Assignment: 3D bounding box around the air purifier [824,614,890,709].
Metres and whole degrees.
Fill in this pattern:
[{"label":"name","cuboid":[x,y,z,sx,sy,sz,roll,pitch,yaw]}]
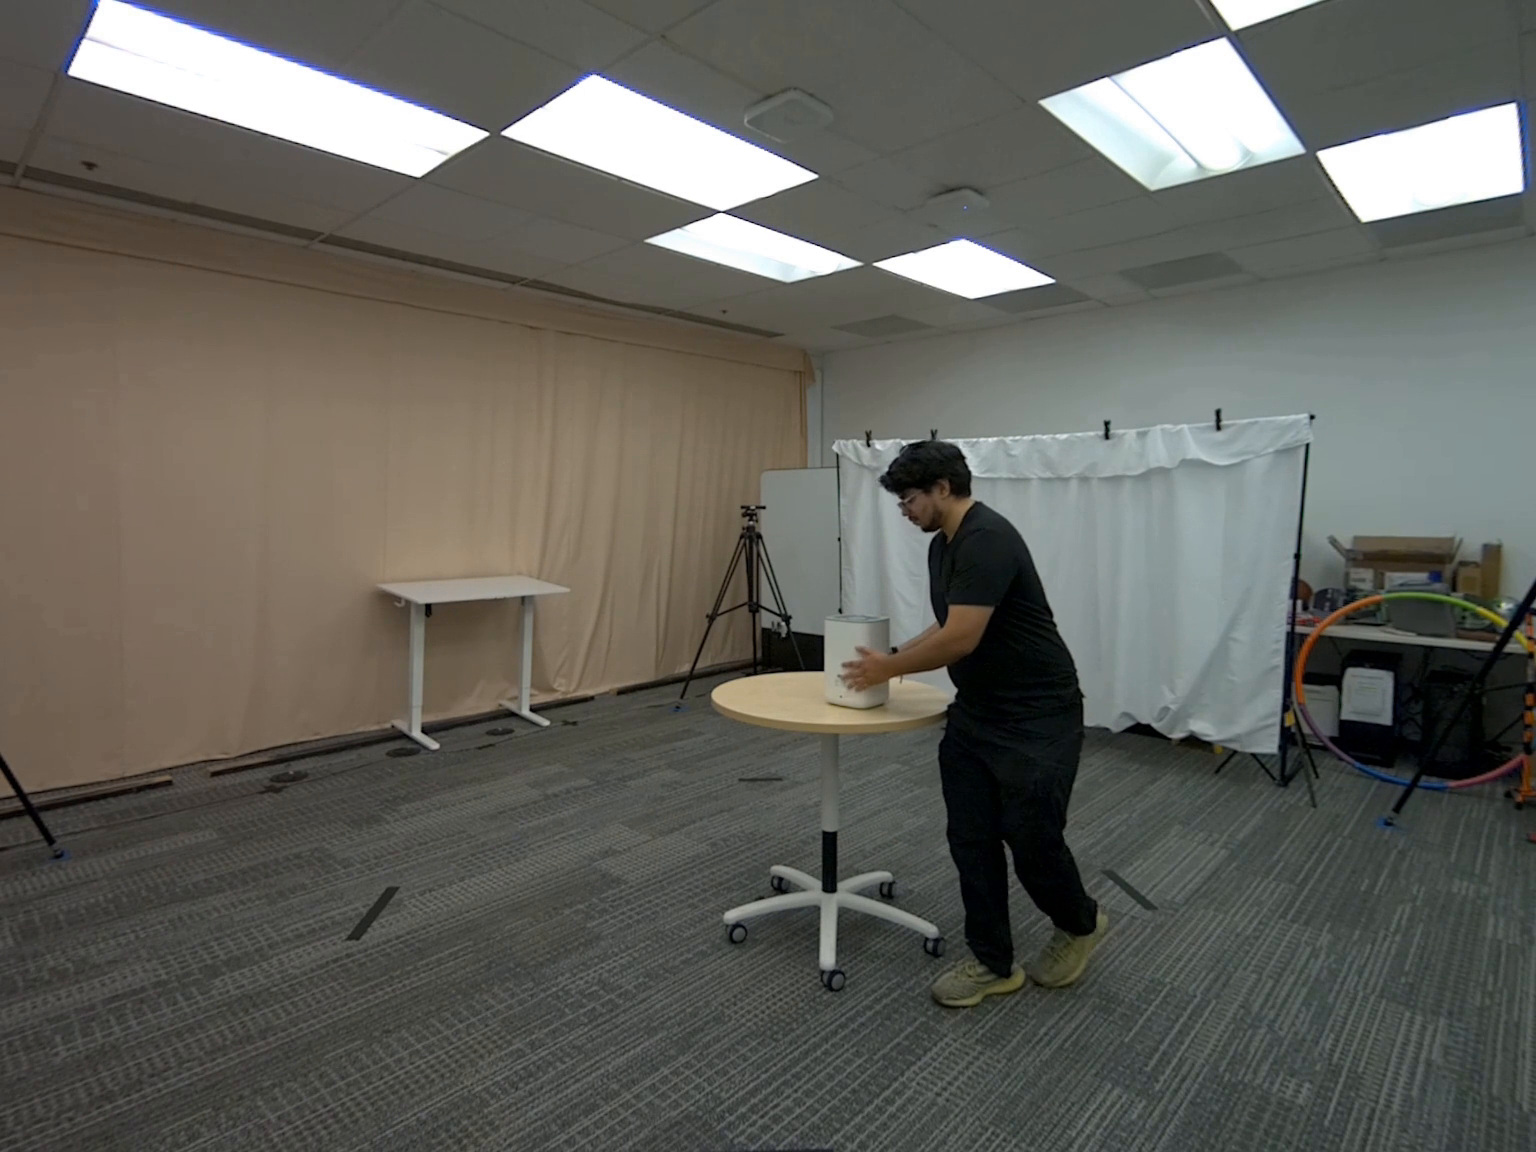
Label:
[{"label":"air purifier","cuboid":[0.282,0.264,2.575,0.176,0.265,0.166,3,5,37]}]
